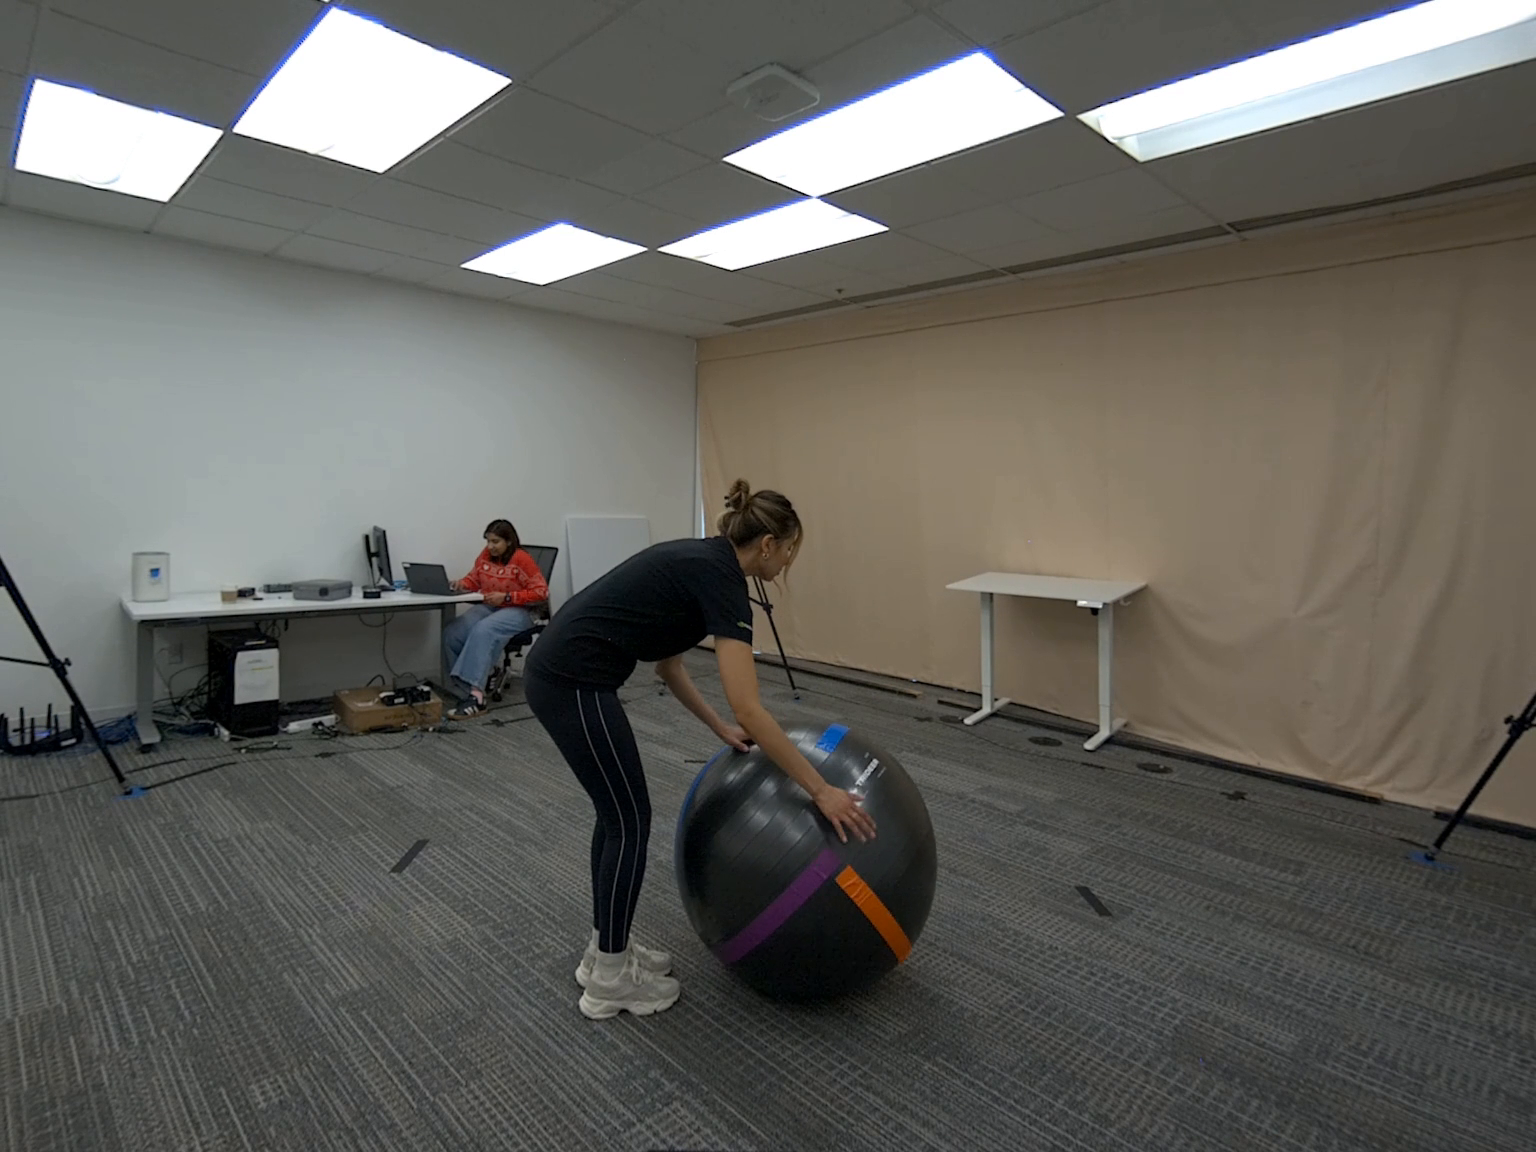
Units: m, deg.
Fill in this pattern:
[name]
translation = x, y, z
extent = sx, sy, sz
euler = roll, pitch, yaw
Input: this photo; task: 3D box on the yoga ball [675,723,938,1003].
[yoga ball]
translation = 0.107, 0.801, 2.444
extent = 0.757, 0.756, 0.761
euler = 1, 4, -1
